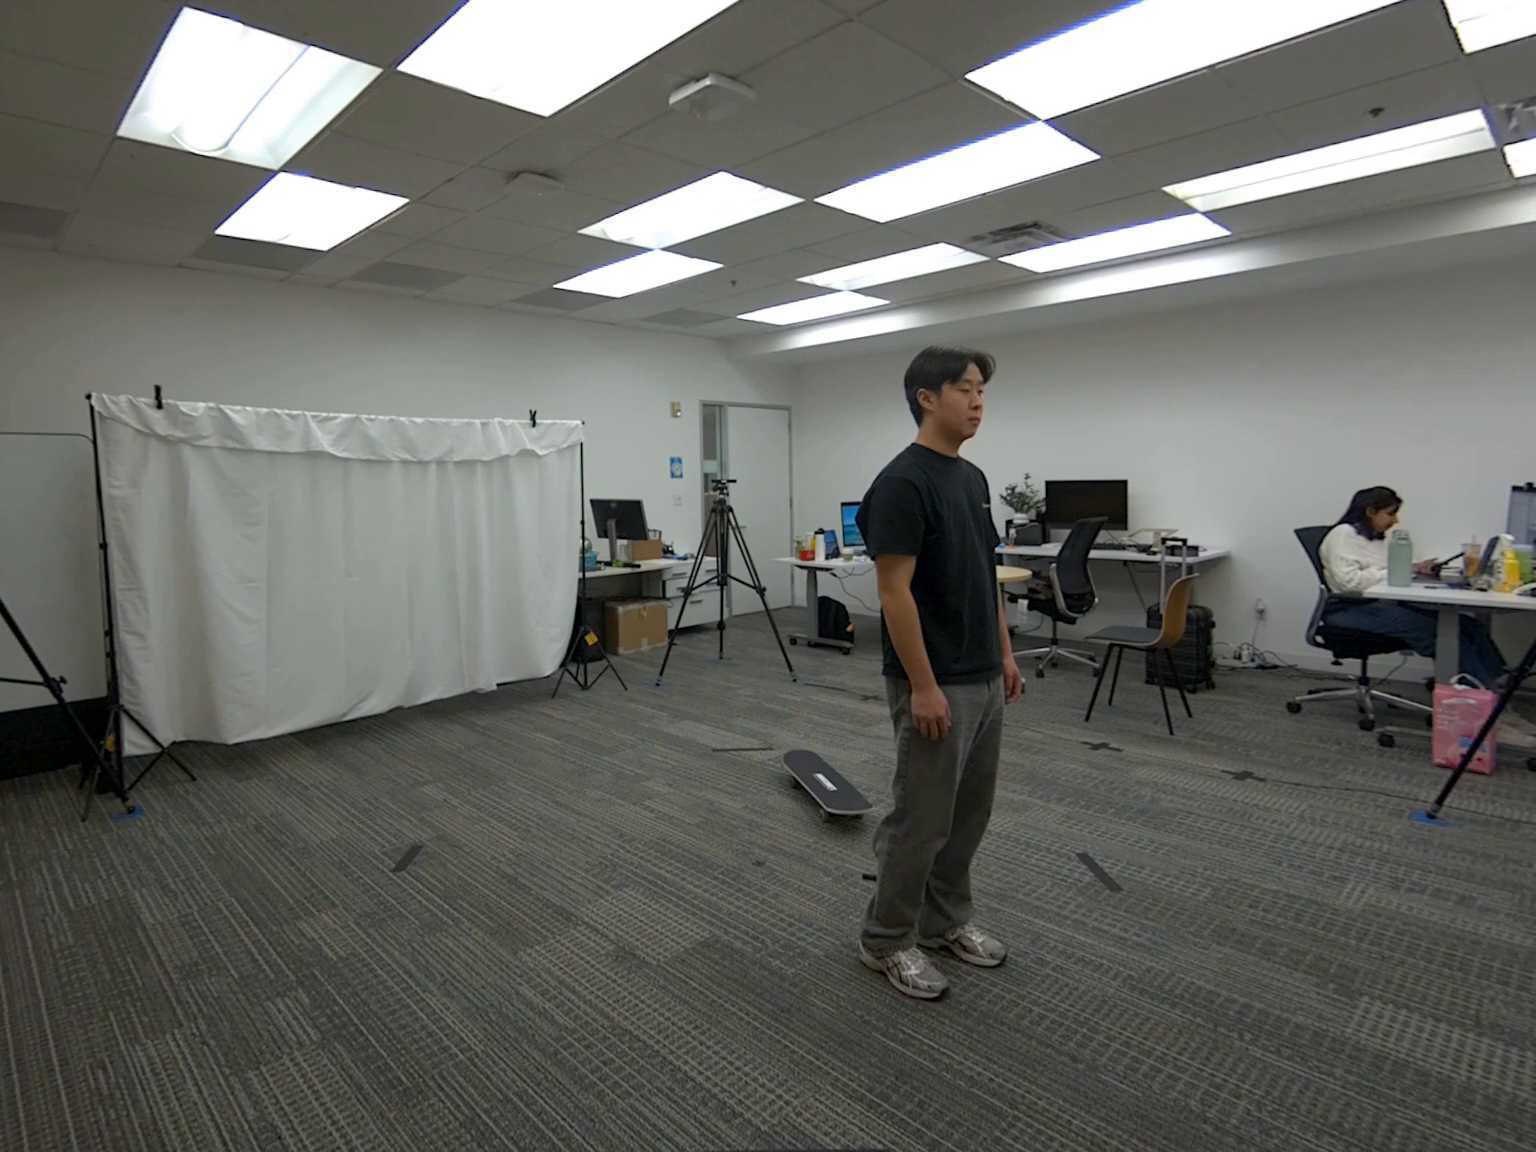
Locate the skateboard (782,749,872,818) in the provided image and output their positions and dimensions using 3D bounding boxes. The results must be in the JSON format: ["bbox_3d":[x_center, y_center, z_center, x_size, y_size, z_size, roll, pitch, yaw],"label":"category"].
[{"bbox_3d":[0.252,0.920,3.690,0.191,0.110,0.799,-3,6,-16],"label":"skateboard"}]
